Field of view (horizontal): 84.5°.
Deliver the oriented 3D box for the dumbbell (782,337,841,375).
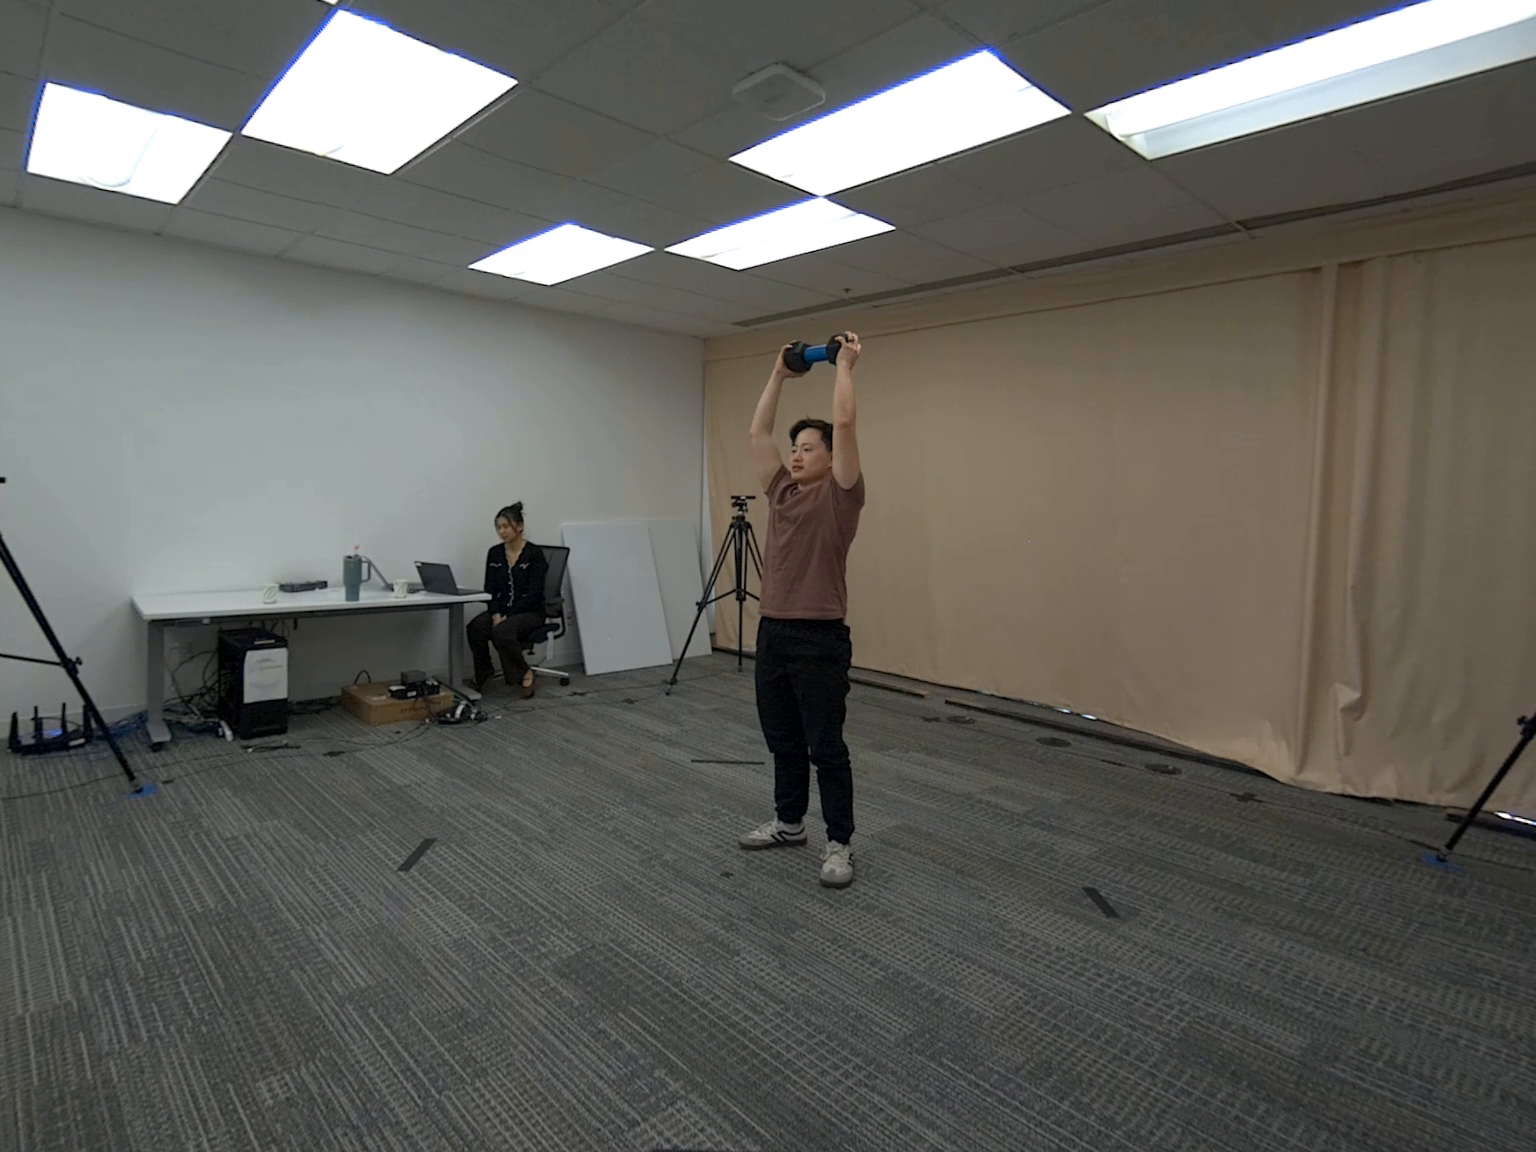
[{"bbox_3d":[0.194,-0.839,3.219,0.301,0.123,0.105,4,-35,44],"label":"dumbbell"}]
